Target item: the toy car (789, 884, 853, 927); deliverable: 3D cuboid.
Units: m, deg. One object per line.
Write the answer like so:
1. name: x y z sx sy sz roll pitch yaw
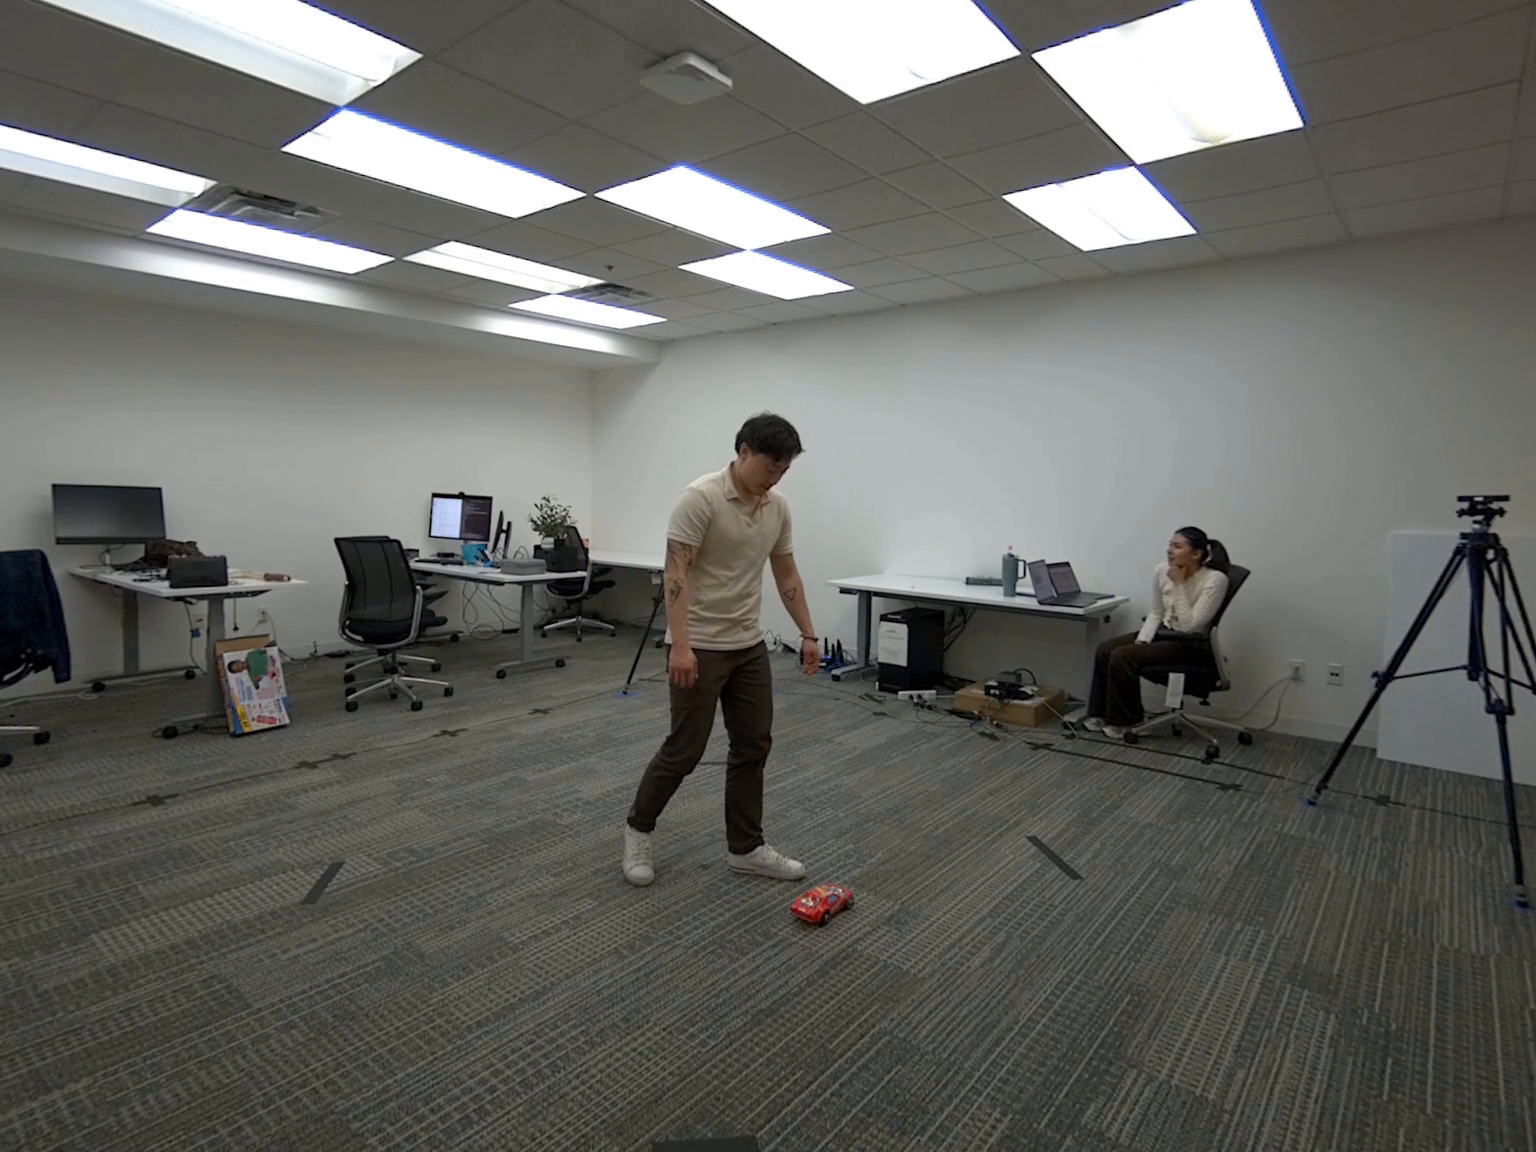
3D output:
1. toy car: 0.165 1.072 2.790 0.135 0.083 0.245 6 -4 40
